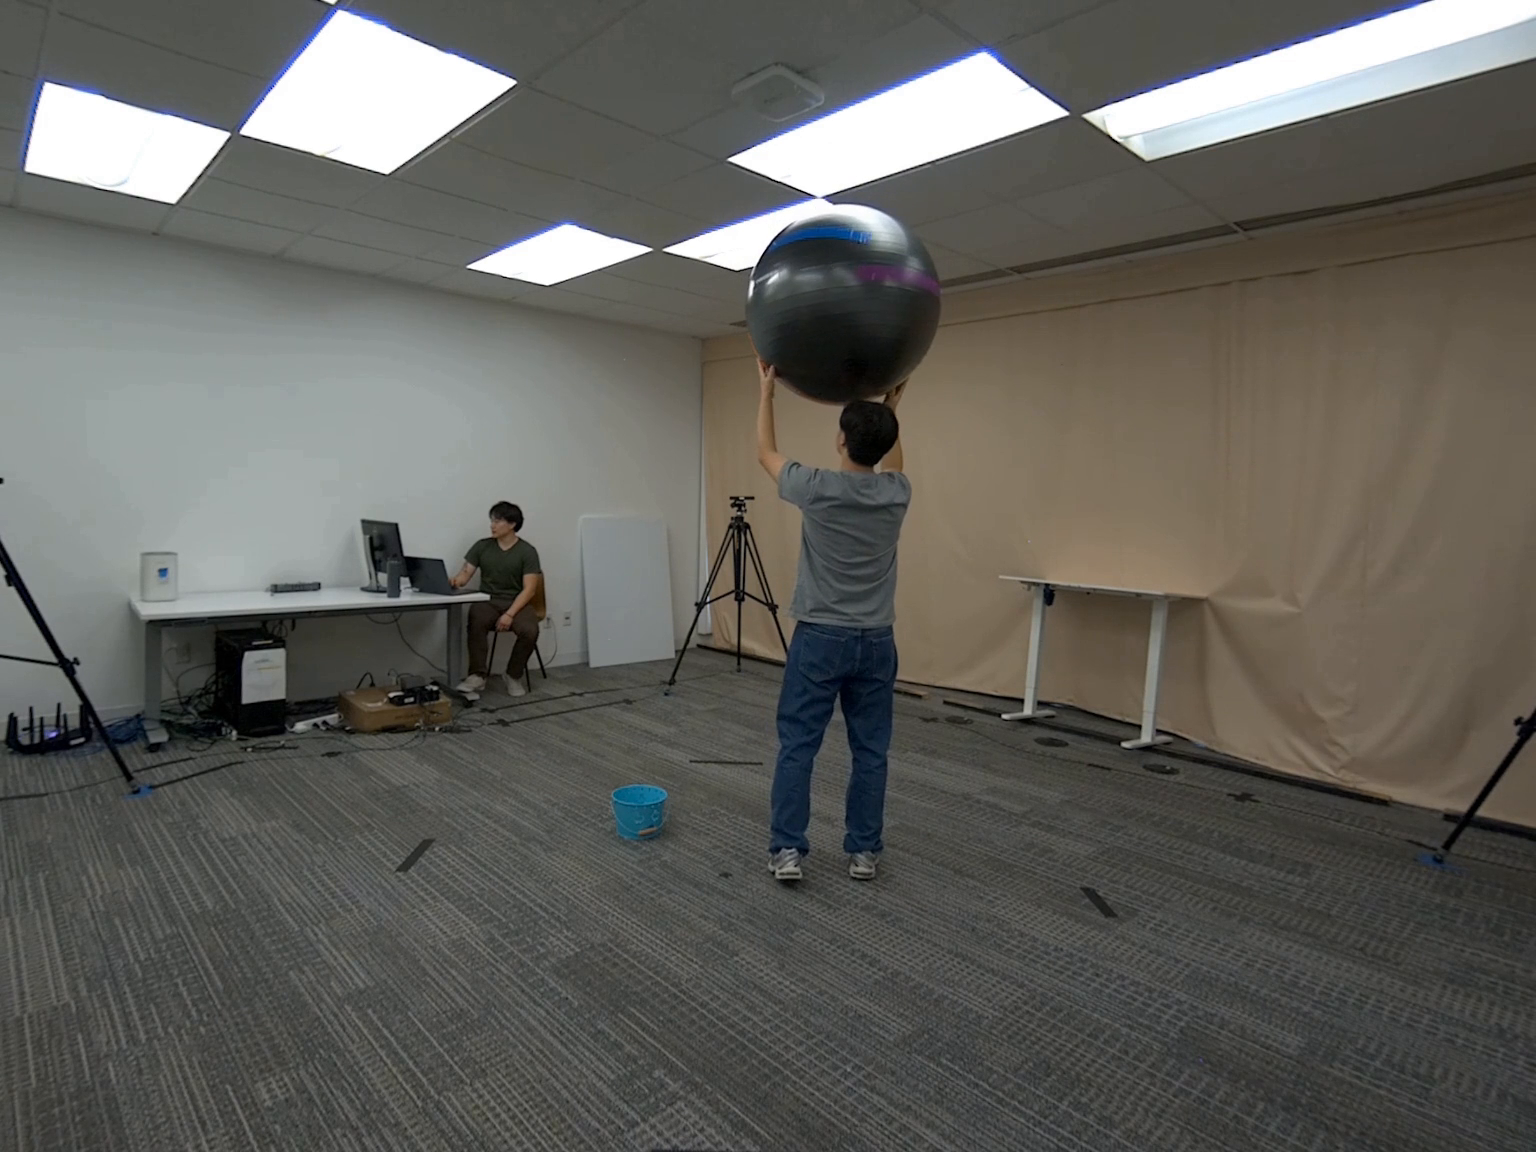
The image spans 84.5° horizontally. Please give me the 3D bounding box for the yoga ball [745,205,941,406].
[{"bbox_3d":[0.288,-1.060,3.326,0.757,0.756,0.761,1,4,-1],"label":"yoga ball"}]
